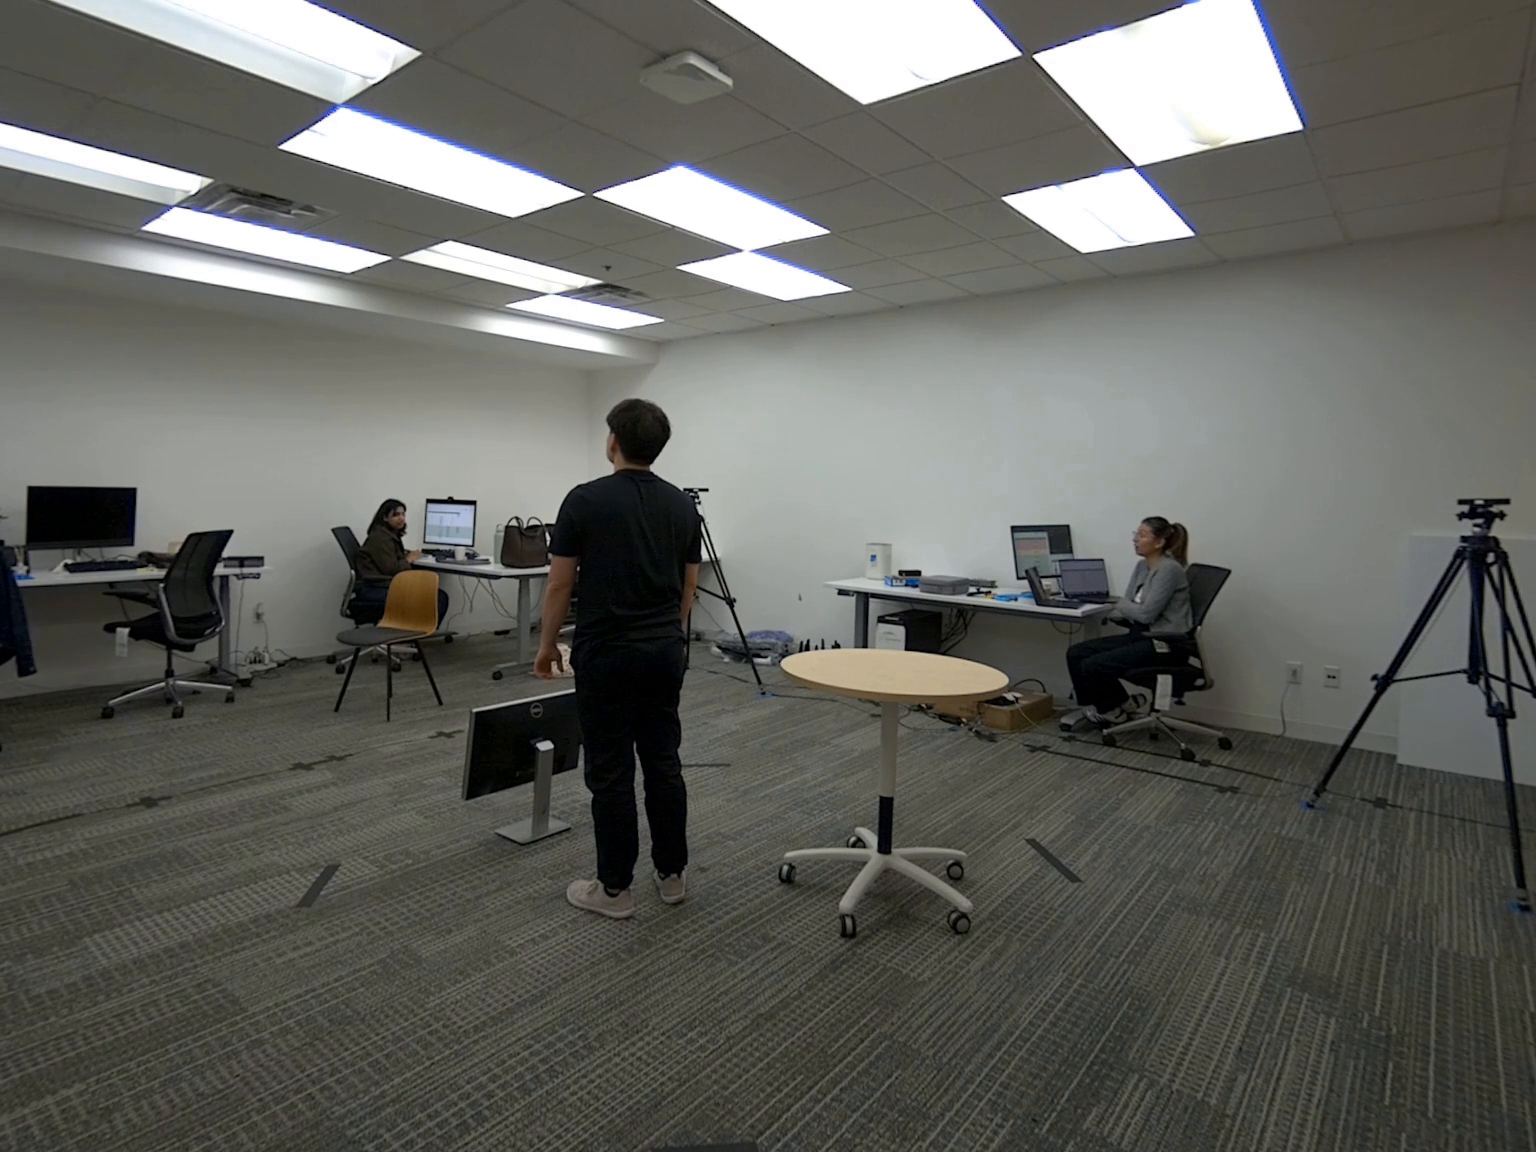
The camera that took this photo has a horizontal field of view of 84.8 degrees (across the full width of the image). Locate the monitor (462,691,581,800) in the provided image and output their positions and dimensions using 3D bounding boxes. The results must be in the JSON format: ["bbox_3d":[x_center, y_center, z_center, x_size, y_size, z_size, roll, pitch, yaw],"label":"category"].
[{"bbox_3d":[-0.965,0.764,3.423,0.193,0.522,0.523,-1,2,37],"label":"monitor"}]
